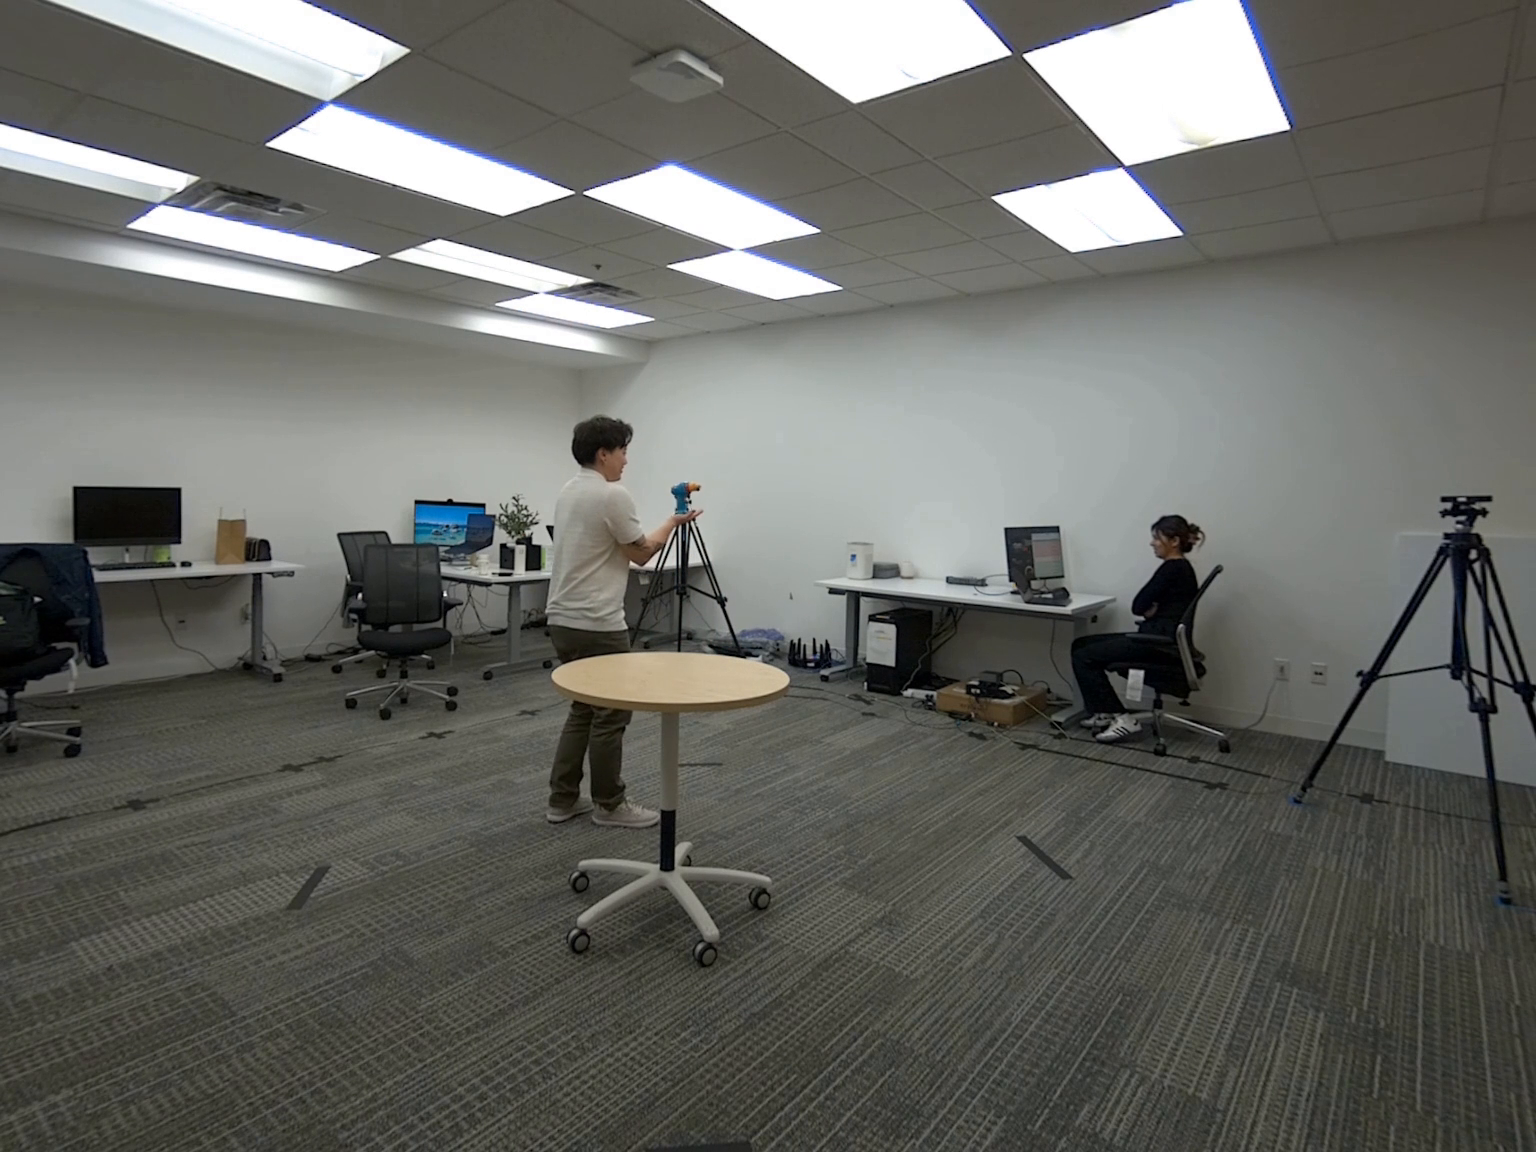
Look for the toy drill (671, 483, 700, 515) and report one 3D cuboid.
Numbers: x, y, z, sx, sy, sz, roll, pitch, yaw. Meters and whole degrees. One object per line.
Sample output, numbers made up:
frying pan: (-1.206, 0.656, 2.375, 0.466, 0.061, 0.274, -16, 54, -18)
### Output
toy drill: (-0.361, -0.339, 3.640, 0.174, 0.147, 0.059, -9, -4, 35)
